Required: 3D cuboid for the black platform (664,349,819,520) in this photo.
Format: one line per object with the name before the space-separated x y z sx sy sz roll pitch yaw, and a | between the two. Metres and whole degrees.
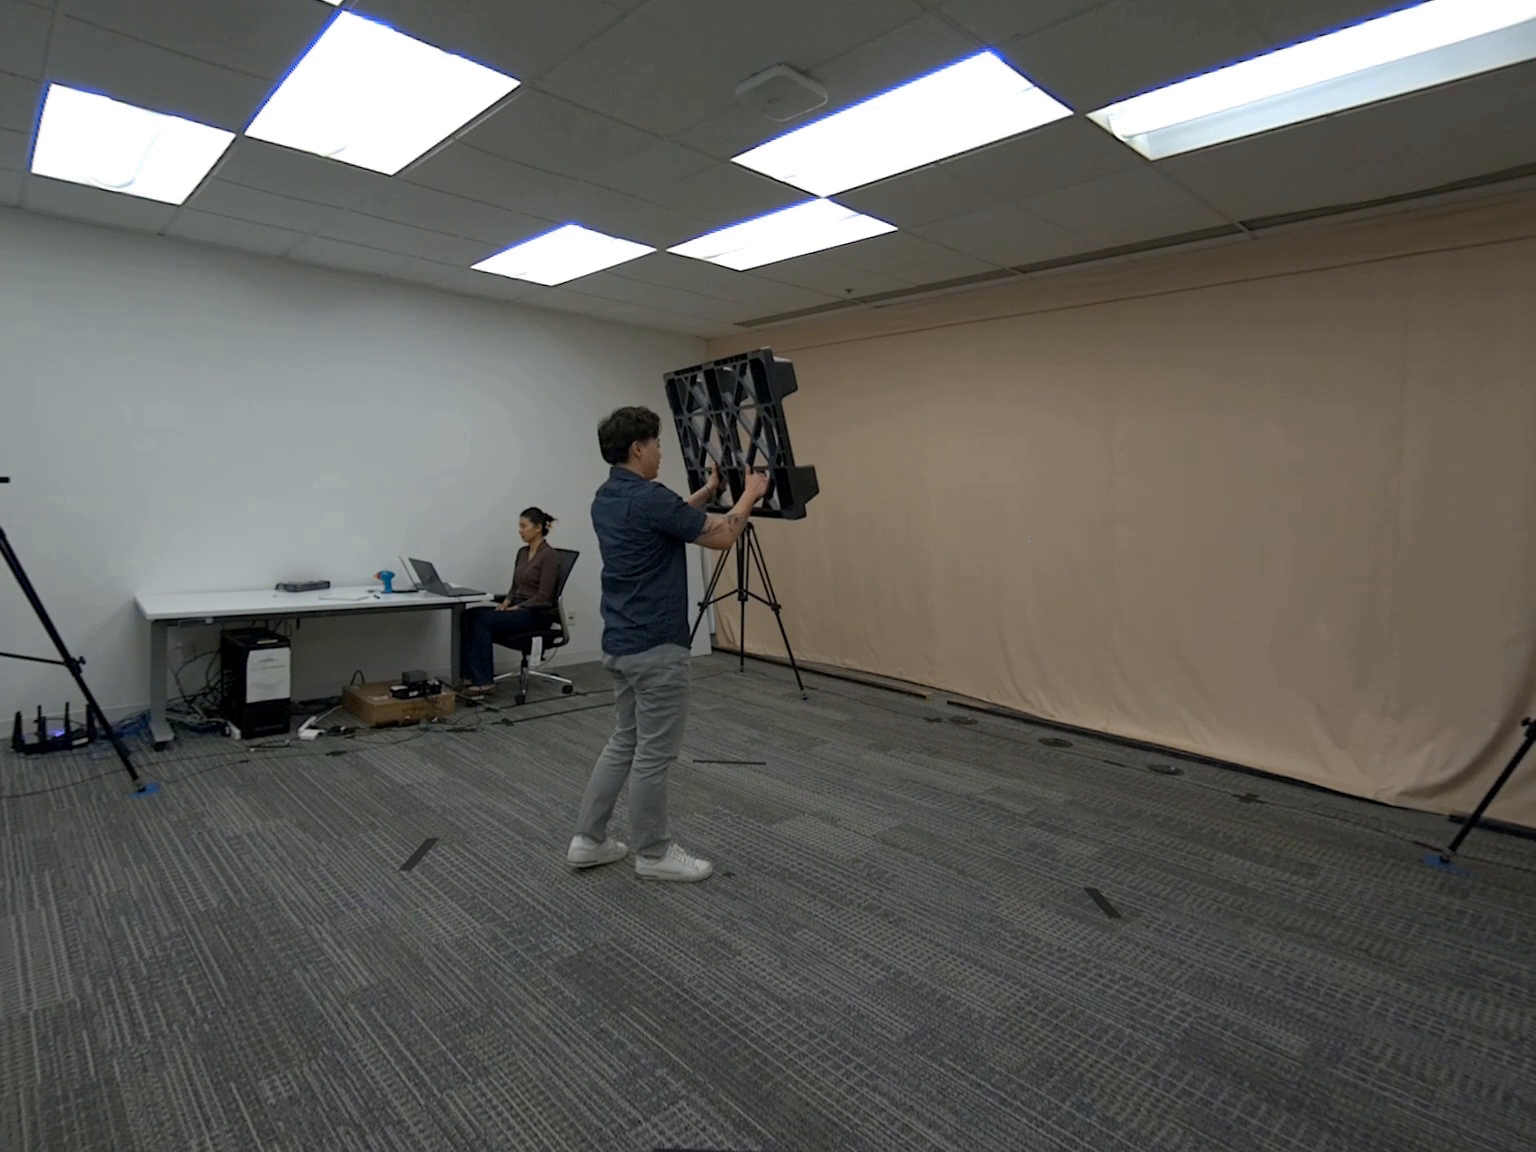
black platform | -0.119 -0.534 3.224 0.141 0.599 0.824 -17 14 -28
